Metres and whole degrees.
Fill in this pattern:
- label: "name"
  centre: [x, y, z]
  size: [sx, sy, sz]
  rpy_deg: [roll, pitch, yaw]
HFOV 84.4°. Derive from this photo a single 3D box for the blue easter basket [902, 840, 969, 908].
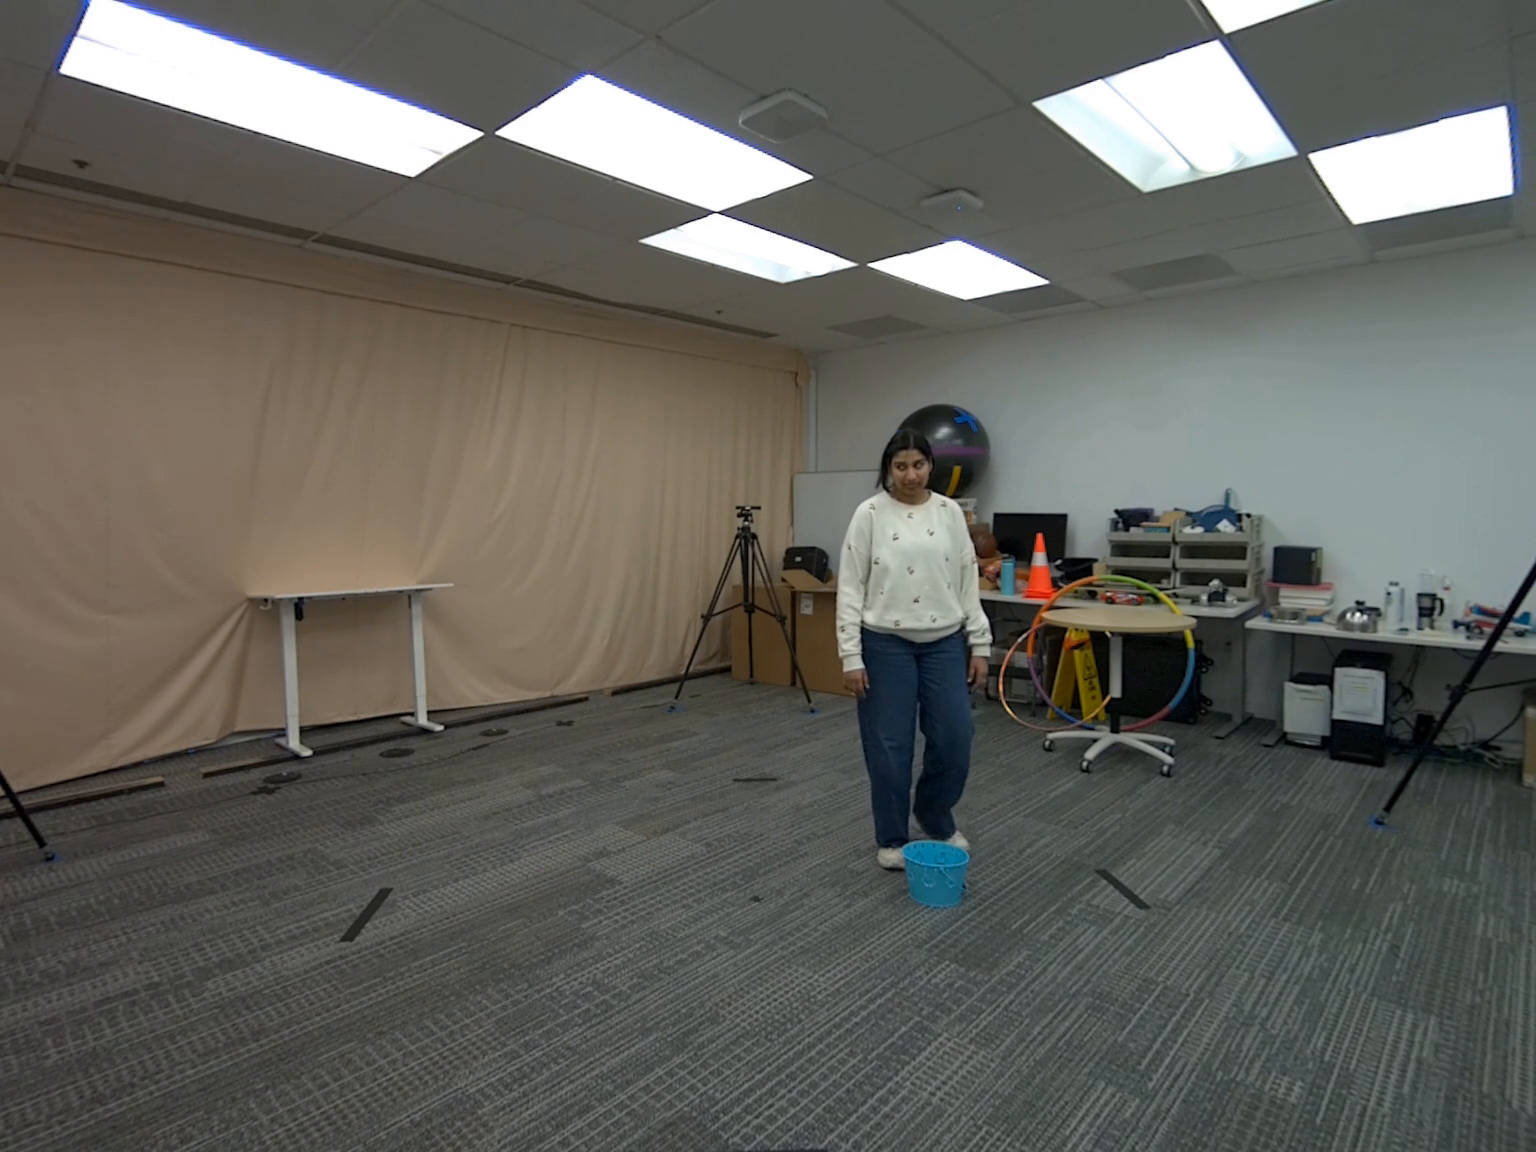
- label: "blue easter basket"
  centre: [0.593, 1.059, 3.002]
  size: [0.243, 0.155, 0.244]
  rpy_deg: [0, 4, -2]
